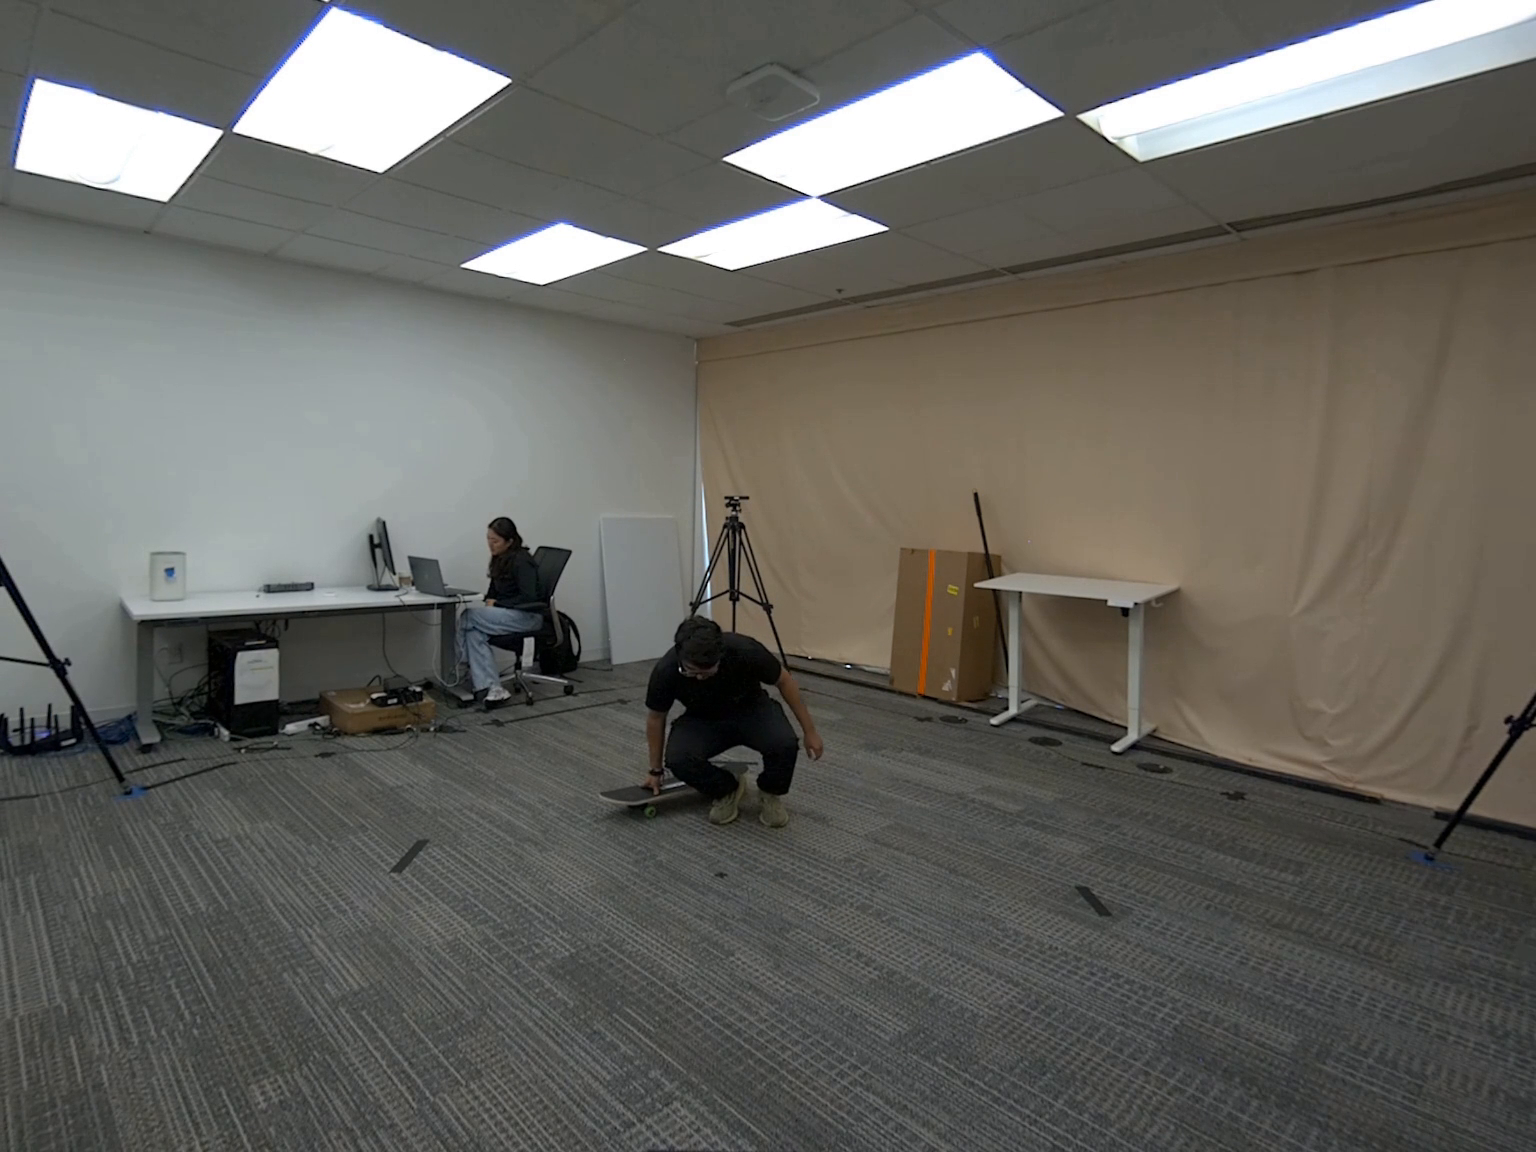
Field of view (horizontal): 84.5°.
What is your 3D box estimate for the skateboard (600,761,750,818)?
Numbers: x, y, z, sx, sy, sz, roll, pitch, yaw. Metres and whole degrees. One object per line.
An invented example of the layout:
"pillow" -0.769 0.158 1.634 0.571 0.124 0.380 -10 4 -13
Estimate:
"skateboard" -0.417 0.977 3.830 0.767 0.110 0.198 -2 4 -40
